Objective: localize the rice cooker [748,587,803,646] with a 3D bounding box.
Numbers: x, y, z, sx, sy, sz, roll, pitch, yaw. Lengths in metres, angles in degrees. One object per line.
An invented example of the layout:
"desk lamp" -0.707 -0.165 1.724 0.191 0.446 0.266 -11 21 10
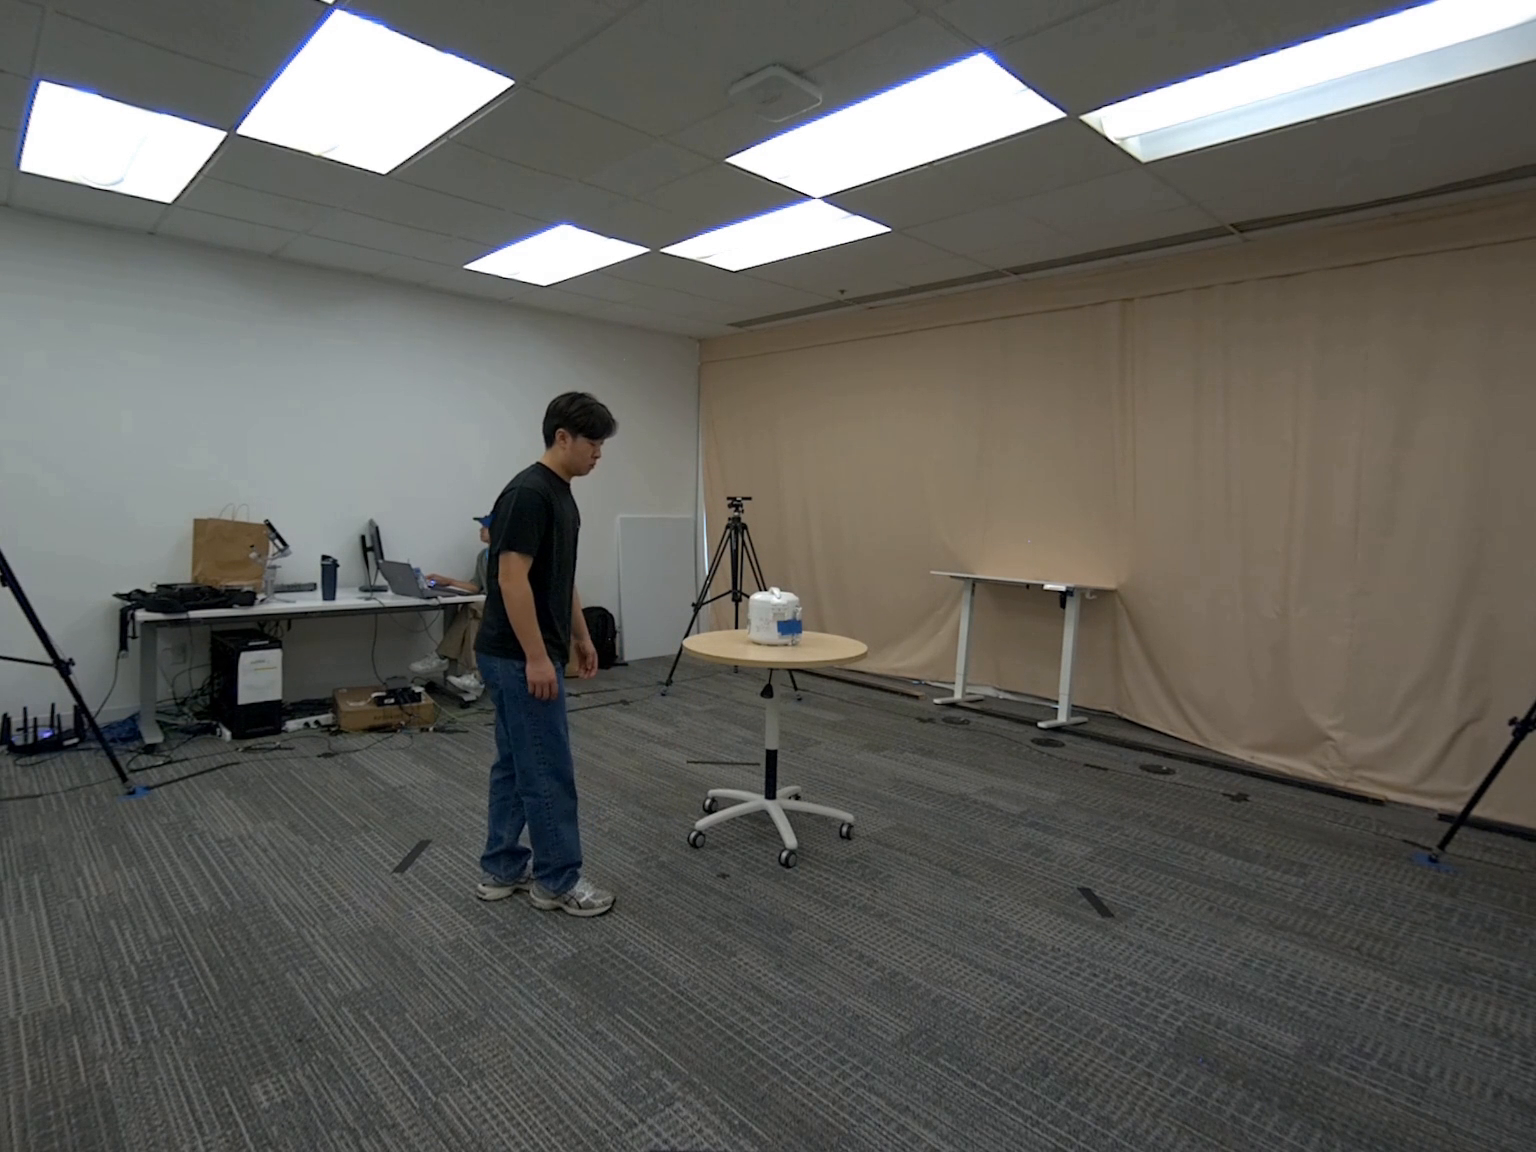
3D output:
"rice cooker" 0.019 0.166 3.519 0.216 0.232 0.222 1 3 -9
